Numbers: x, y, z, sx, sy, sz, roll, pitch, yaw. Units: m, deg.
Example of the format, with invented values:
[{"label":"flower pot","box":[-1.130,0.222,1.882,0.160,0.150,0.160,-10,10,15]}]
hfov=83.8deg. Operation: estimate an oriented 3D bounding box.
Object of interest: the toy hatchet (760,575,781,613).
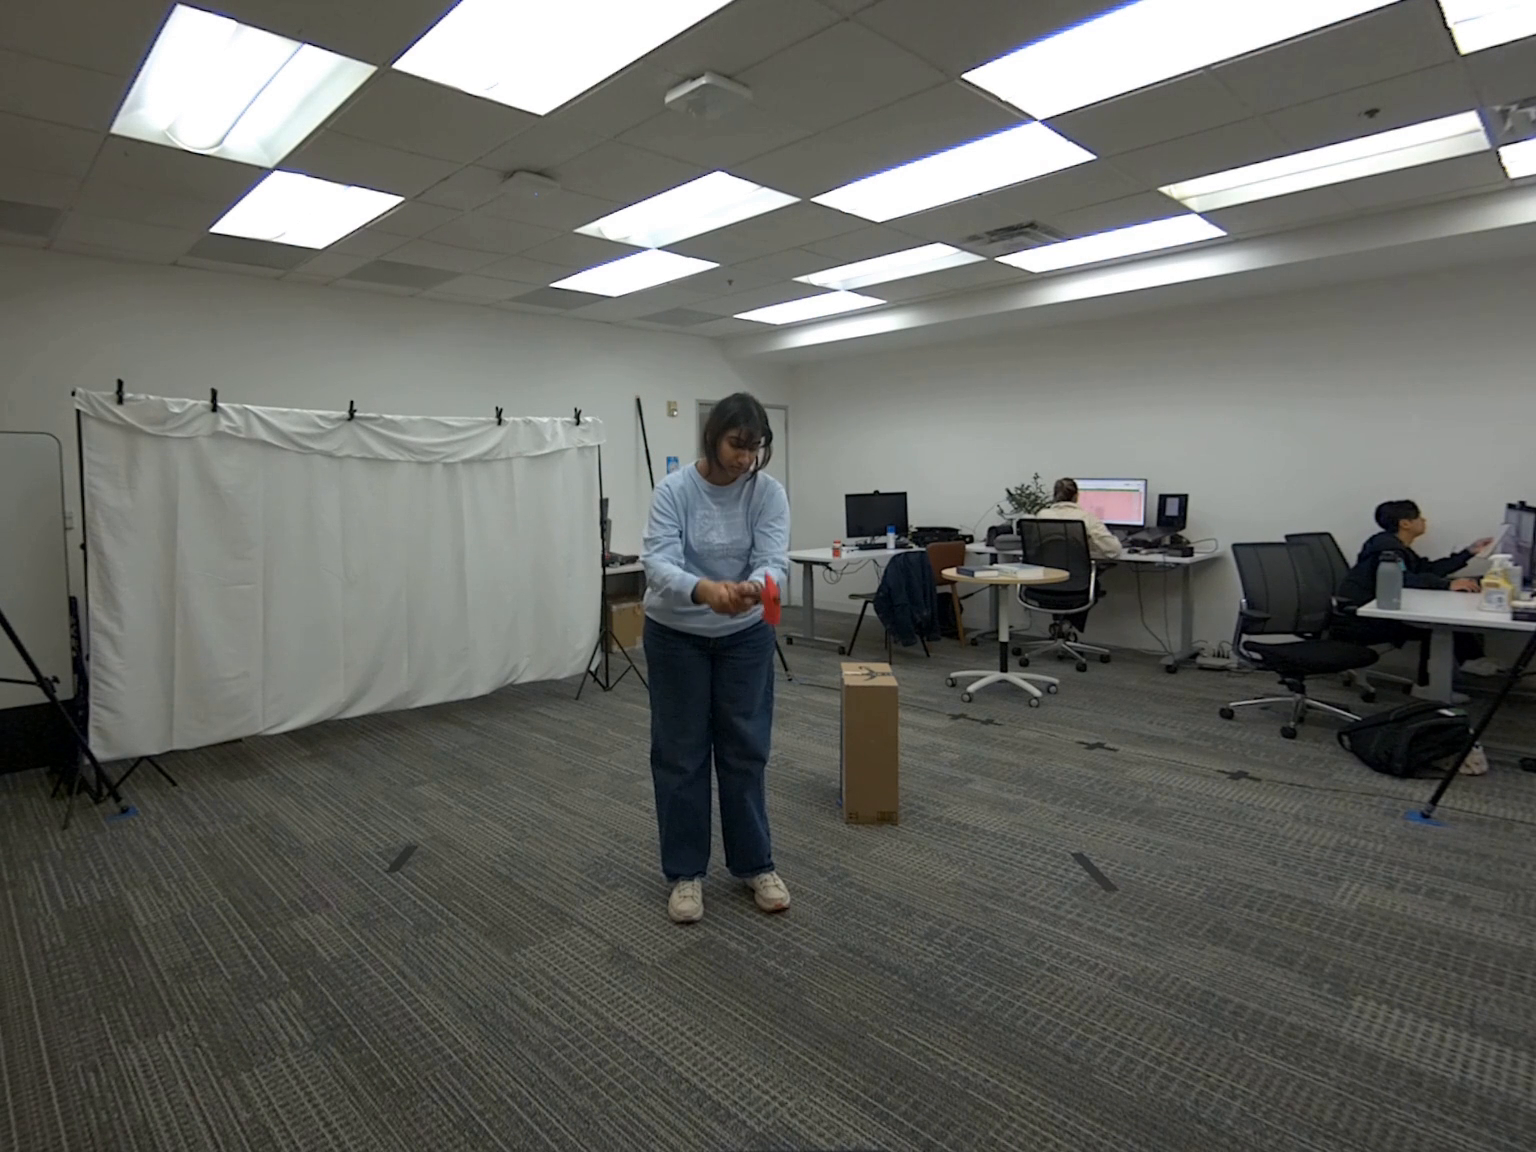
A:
[{"label":"toy hatchet","box":[-0.030,0.006,2.198,0.029,0.131,0.272,-18,2,-13]}]
